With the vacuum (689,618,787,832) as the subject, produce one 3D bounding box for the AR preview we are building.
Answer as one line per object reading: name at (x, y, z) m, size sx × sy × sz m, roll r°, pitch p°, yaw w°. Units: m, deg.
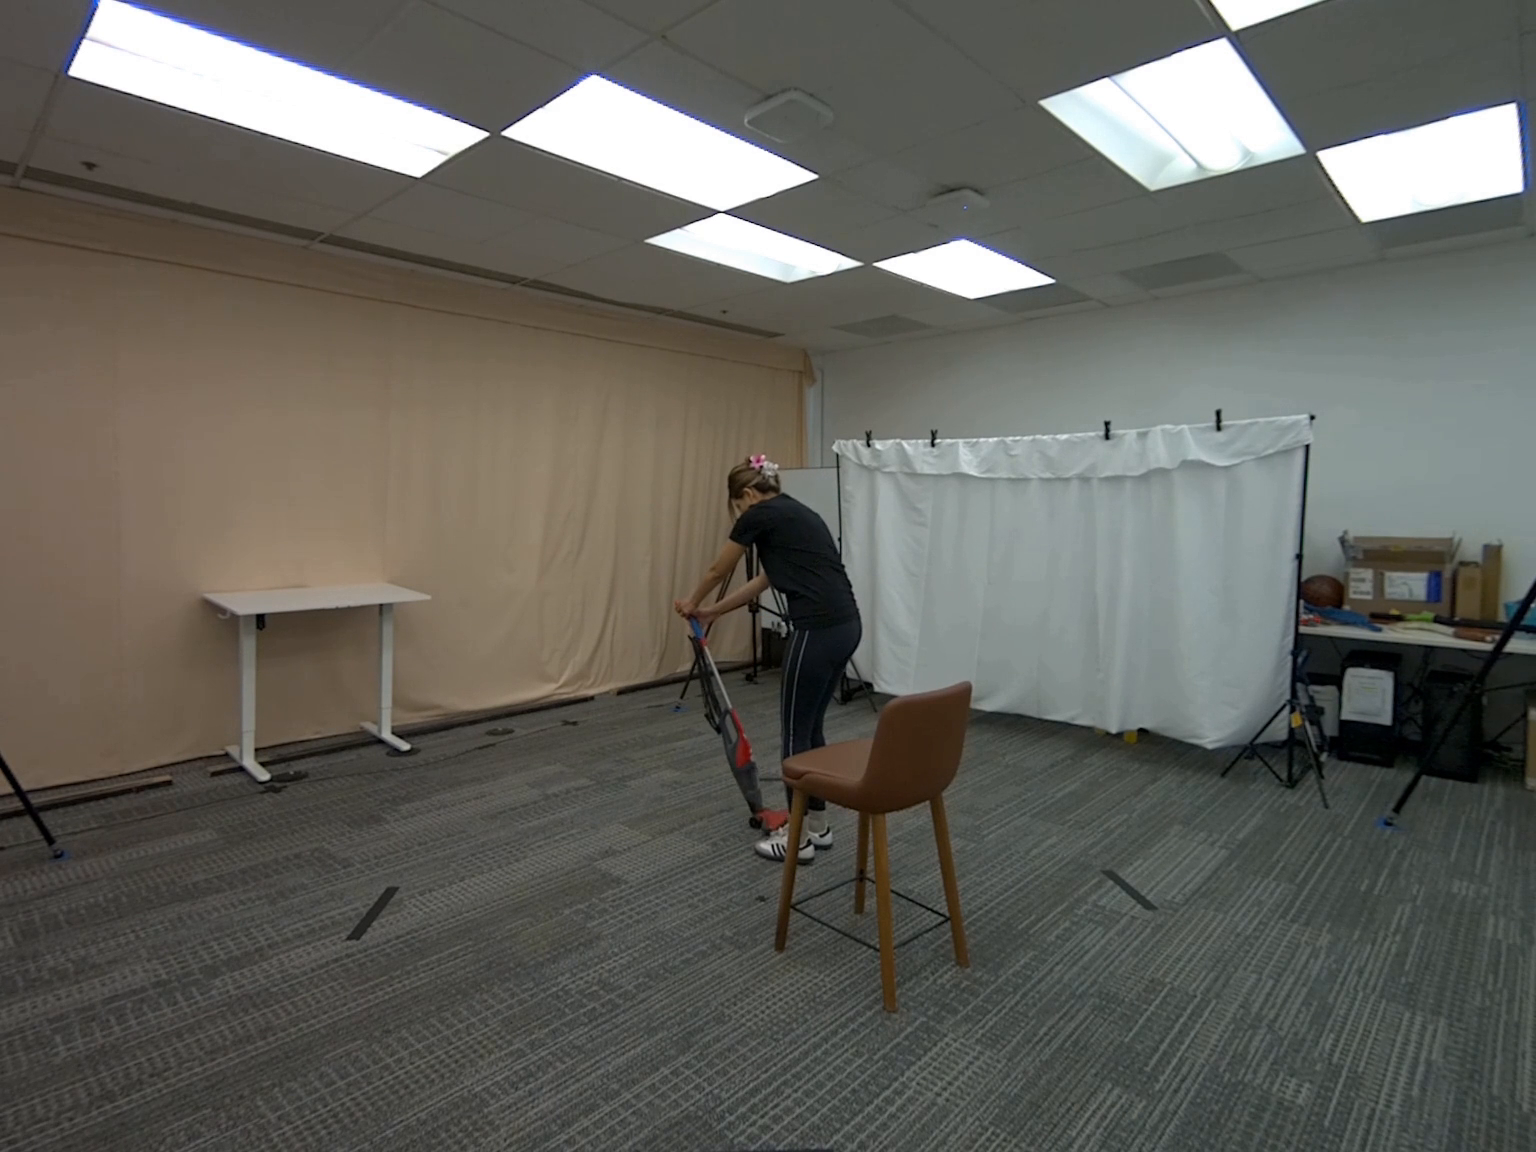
vacuum at (-0.198, 0.606, 3.764) m, size 0.146 × 1.060 × 0.246 m, roll -30°, pitch -11°, yaw 27°
